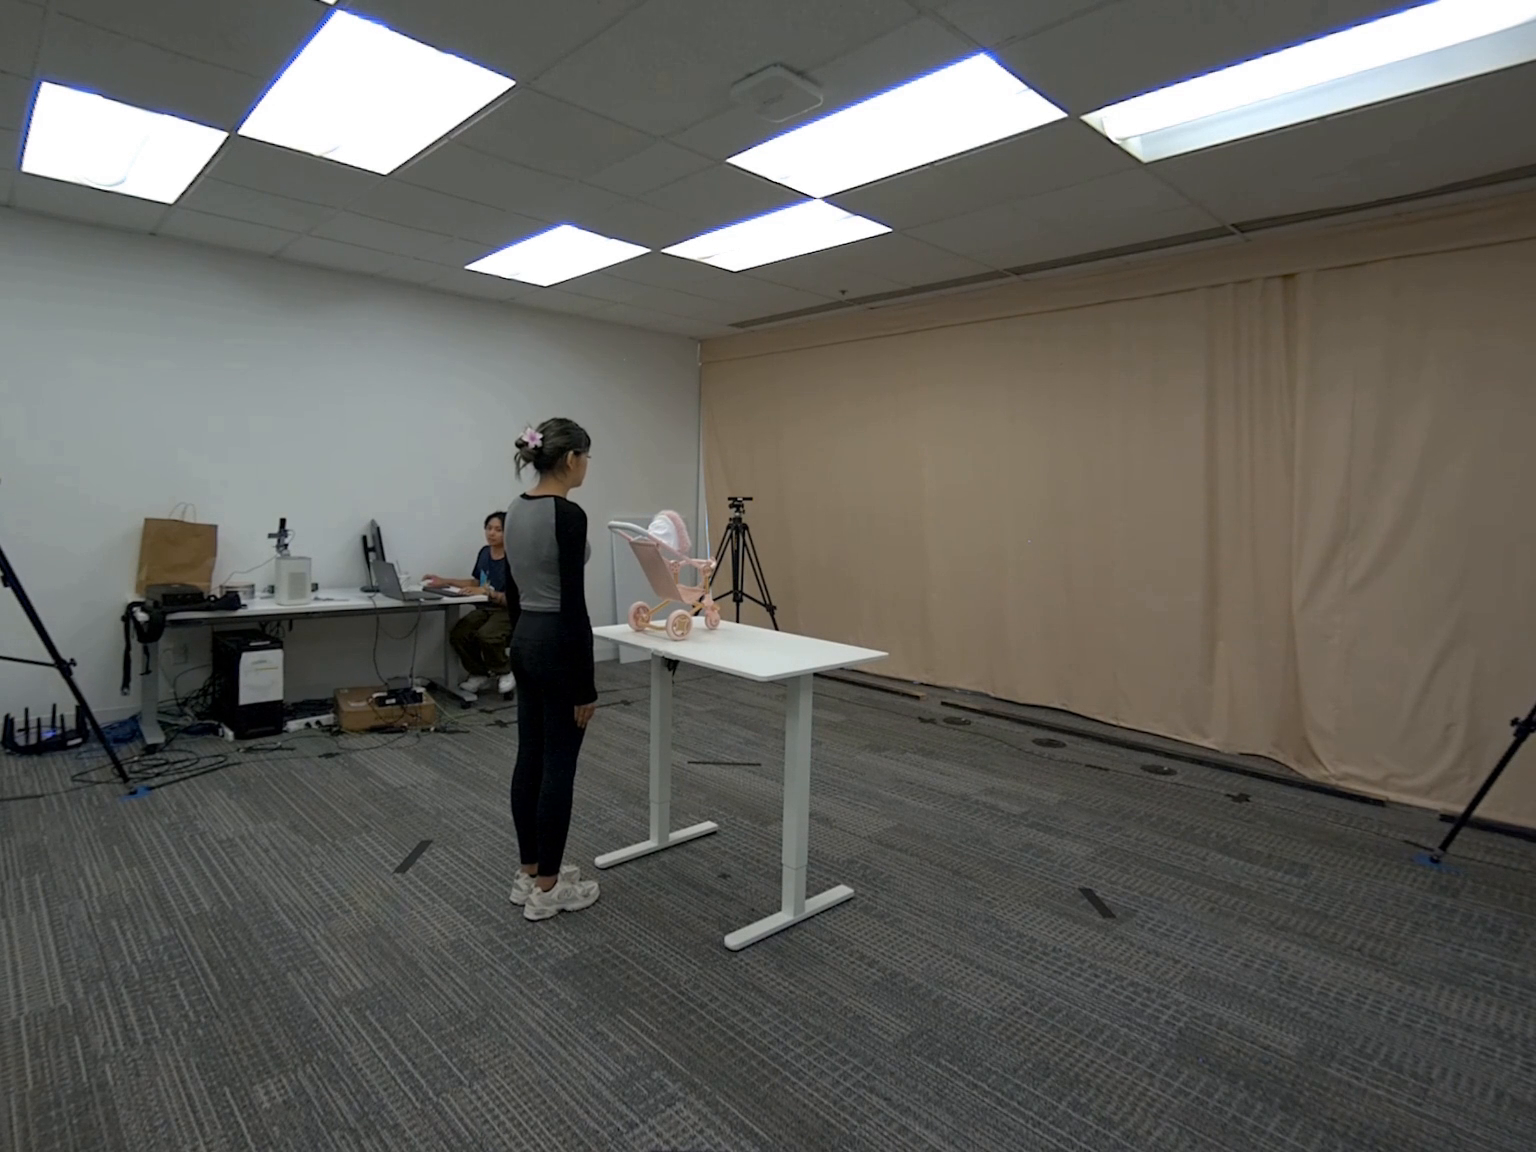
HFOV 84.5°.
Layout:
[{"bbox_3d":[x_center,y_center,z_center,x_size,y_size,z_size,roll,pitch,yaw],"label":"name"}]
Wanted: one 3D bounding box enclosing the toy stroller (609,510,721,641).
[{"bbox_3d":[-0.357,-0.004,3.110,0.337,0.528,0.288,-23,18,-35],"label":"toy stroller"}]
